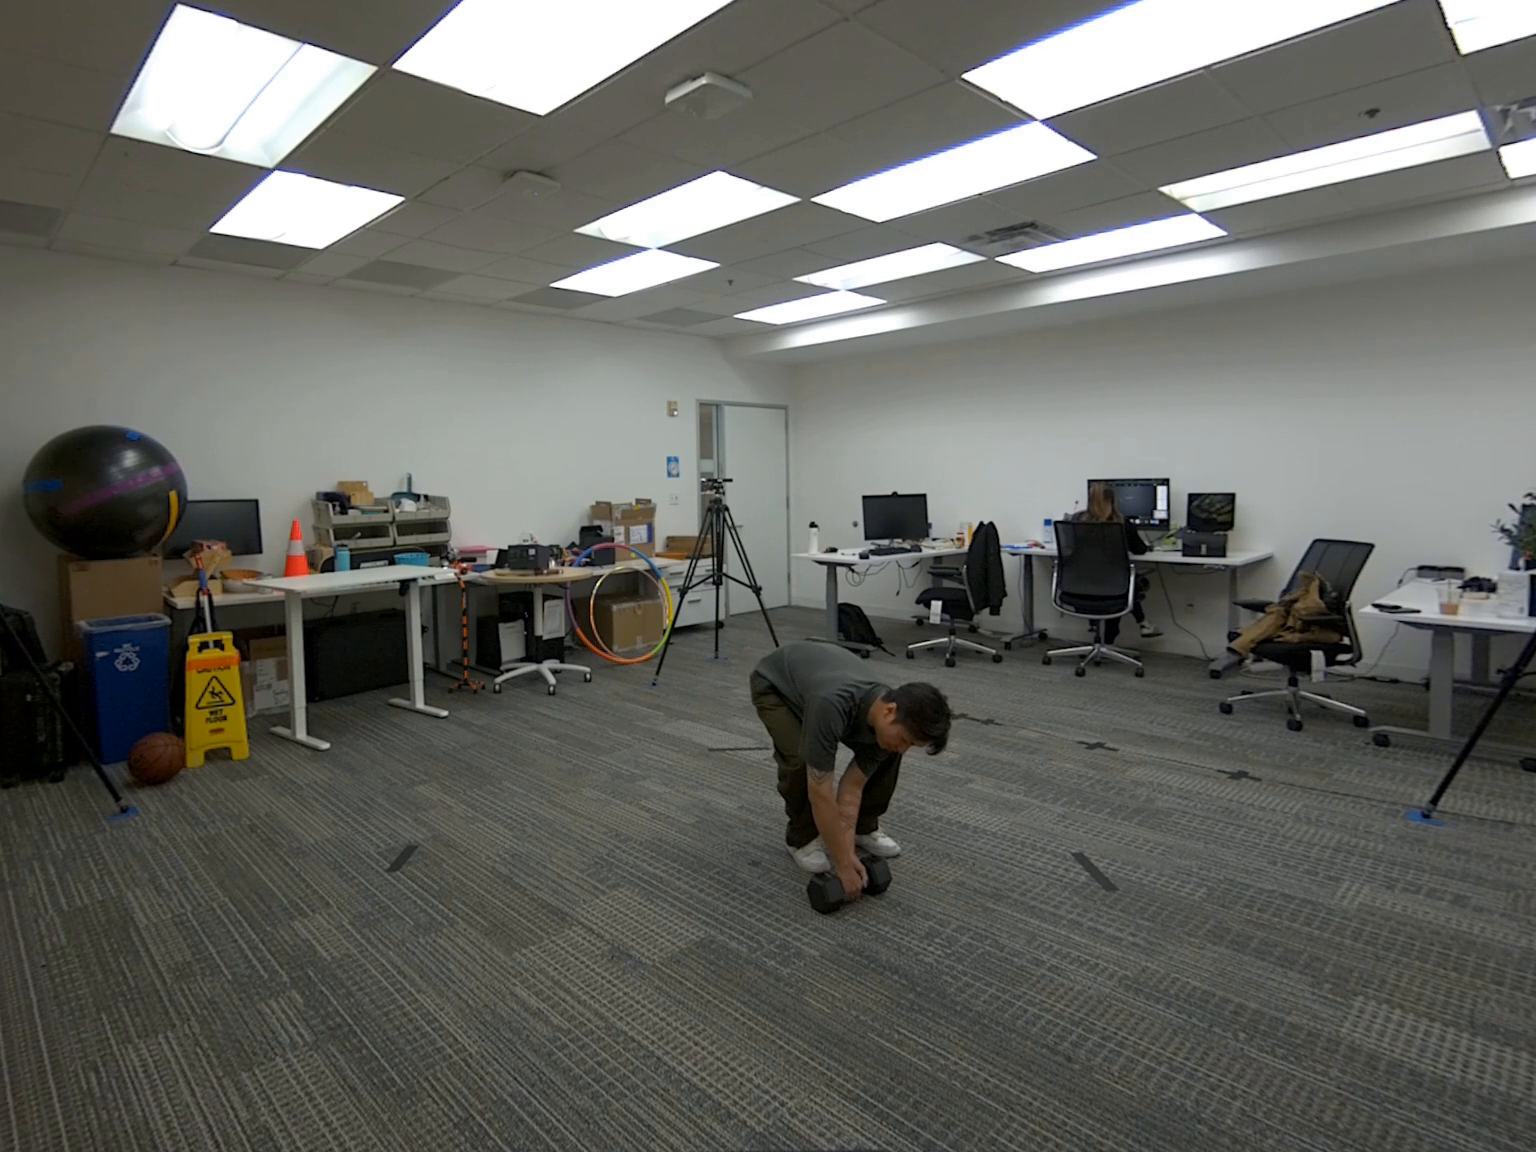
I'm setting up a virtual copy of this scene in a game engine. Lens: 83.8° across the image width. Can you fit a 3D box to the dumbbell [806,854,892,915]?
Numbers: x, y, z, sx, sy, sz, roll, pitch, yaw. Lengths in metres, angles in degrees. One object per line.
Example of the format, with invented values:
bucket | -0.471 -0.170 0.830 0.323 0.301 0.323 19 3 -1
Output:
dumbbell | 0.272 1.021 2.828 0.286 0.121 0.113 -6 37 -35
